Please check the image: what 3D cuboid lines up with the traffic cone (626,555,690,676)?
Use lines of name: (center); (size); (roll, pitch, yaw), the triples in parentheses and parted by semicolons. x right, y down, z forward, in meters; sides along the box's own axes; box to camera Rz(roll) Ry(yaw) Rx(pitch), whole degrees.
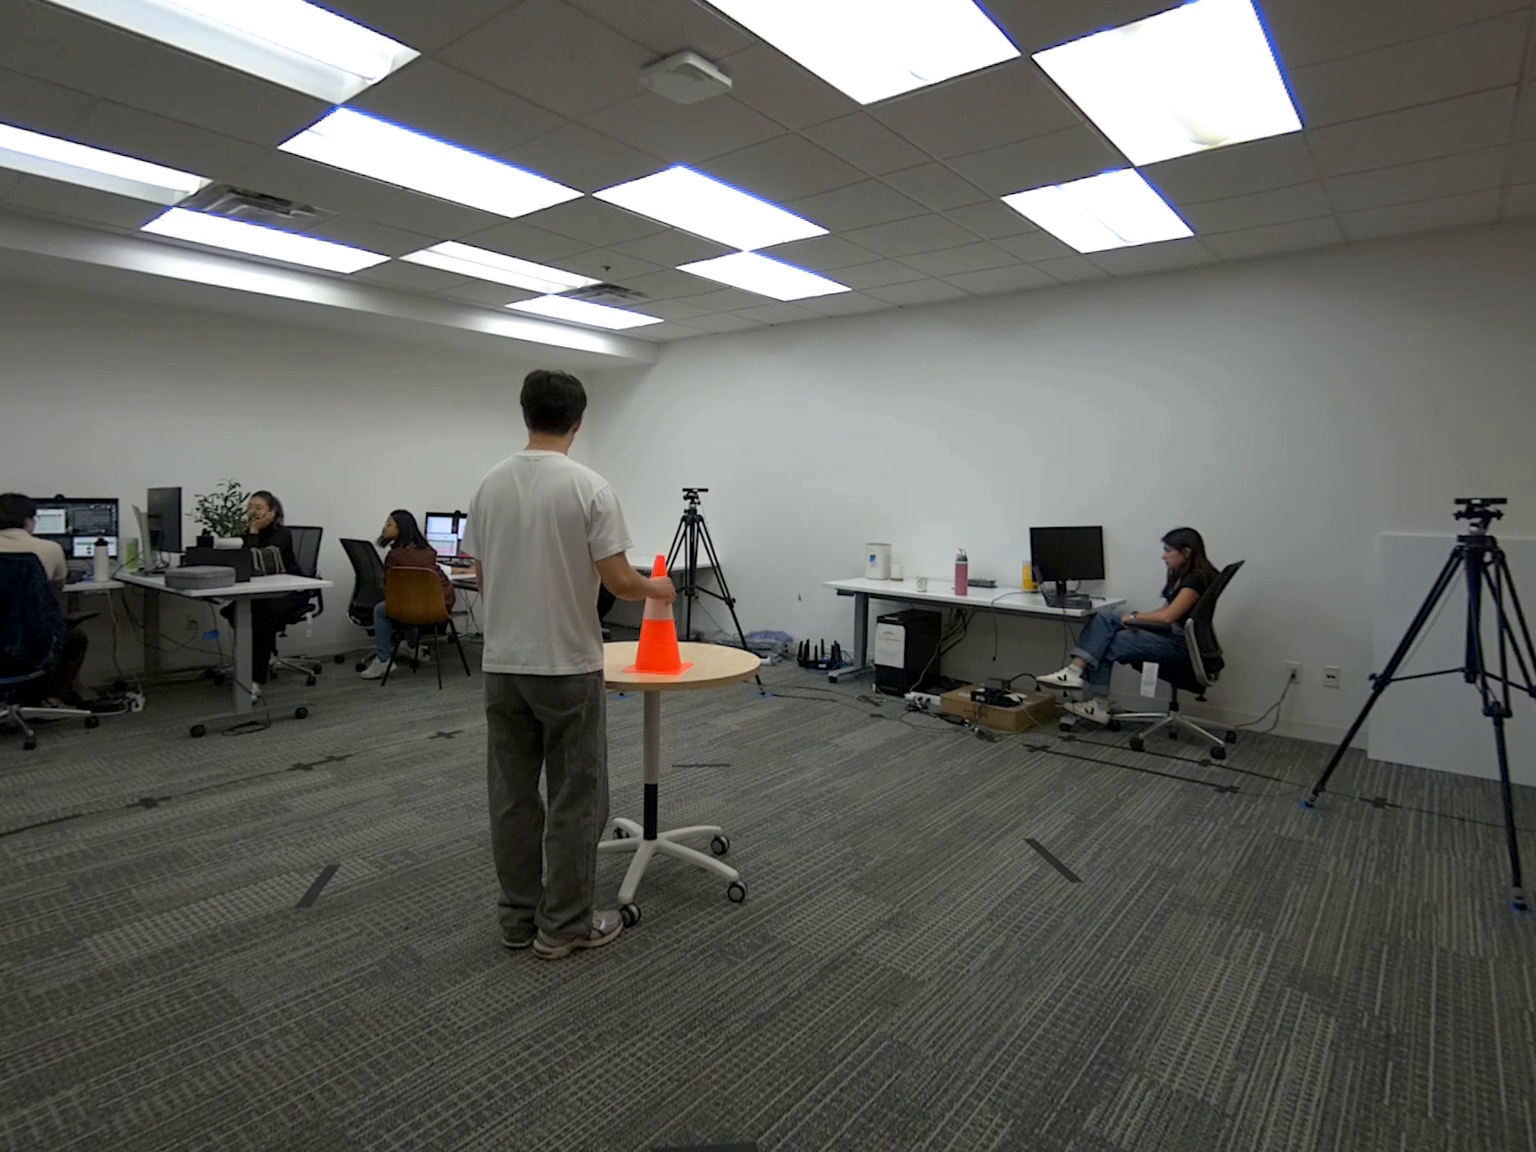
traffic cone: (-0.364, 0.110, 2.863); (0.208, 0.382, 0.201); (3, 4, 14)
